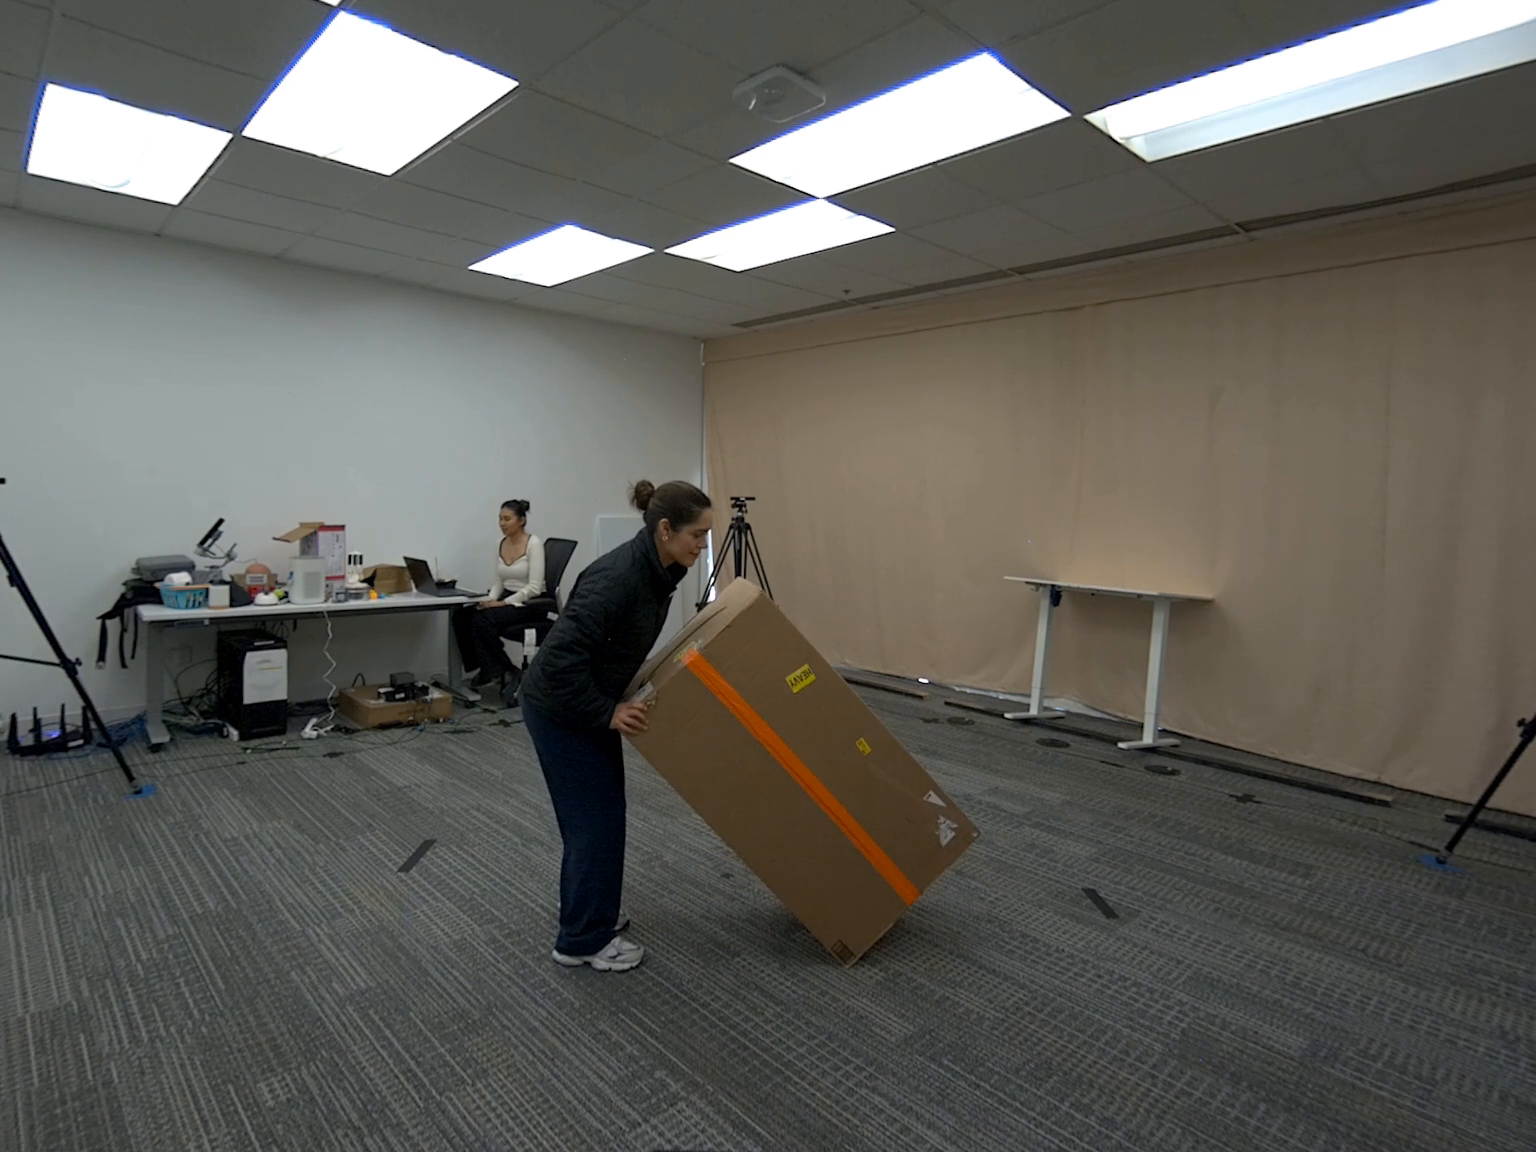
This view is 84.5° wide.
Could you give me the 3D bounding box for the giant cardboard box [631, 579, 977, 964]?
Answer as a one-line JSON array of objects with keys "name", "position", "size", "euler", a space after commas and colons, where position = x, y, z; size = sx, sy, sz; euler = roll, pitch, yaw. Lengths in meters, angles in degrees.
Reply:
[{"name": "giant cardboard box", "position": [0.079, 0.586, 2.662], "size": [0.583, 1.017, 0.451], "euler": [-42, 9, -4]}]
